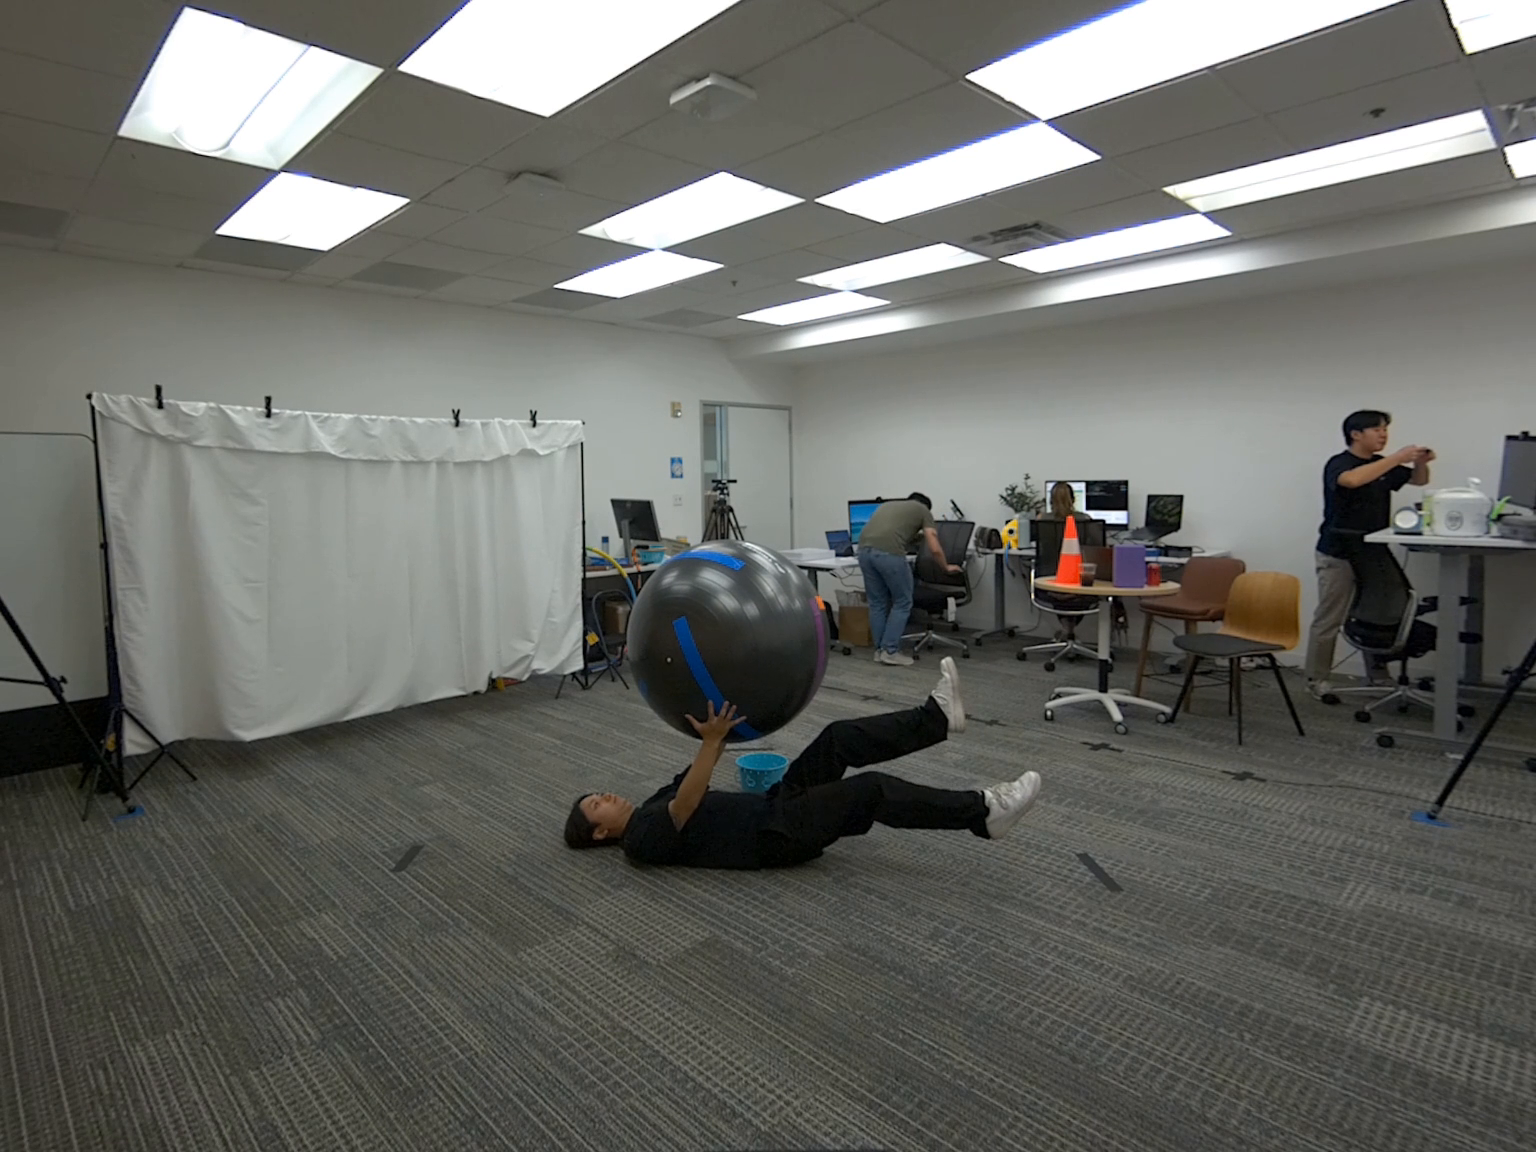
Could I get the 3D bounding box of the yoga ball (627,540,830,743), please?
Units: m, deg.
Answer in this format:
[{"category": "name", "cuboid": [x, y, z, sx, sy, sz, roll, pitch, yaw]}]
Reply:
[{"category": "yoga ball", "cuboid": [-0.156, 0.248, 3.214, 0.757, 0.755, 0.762, -1, 5, -2]}]
